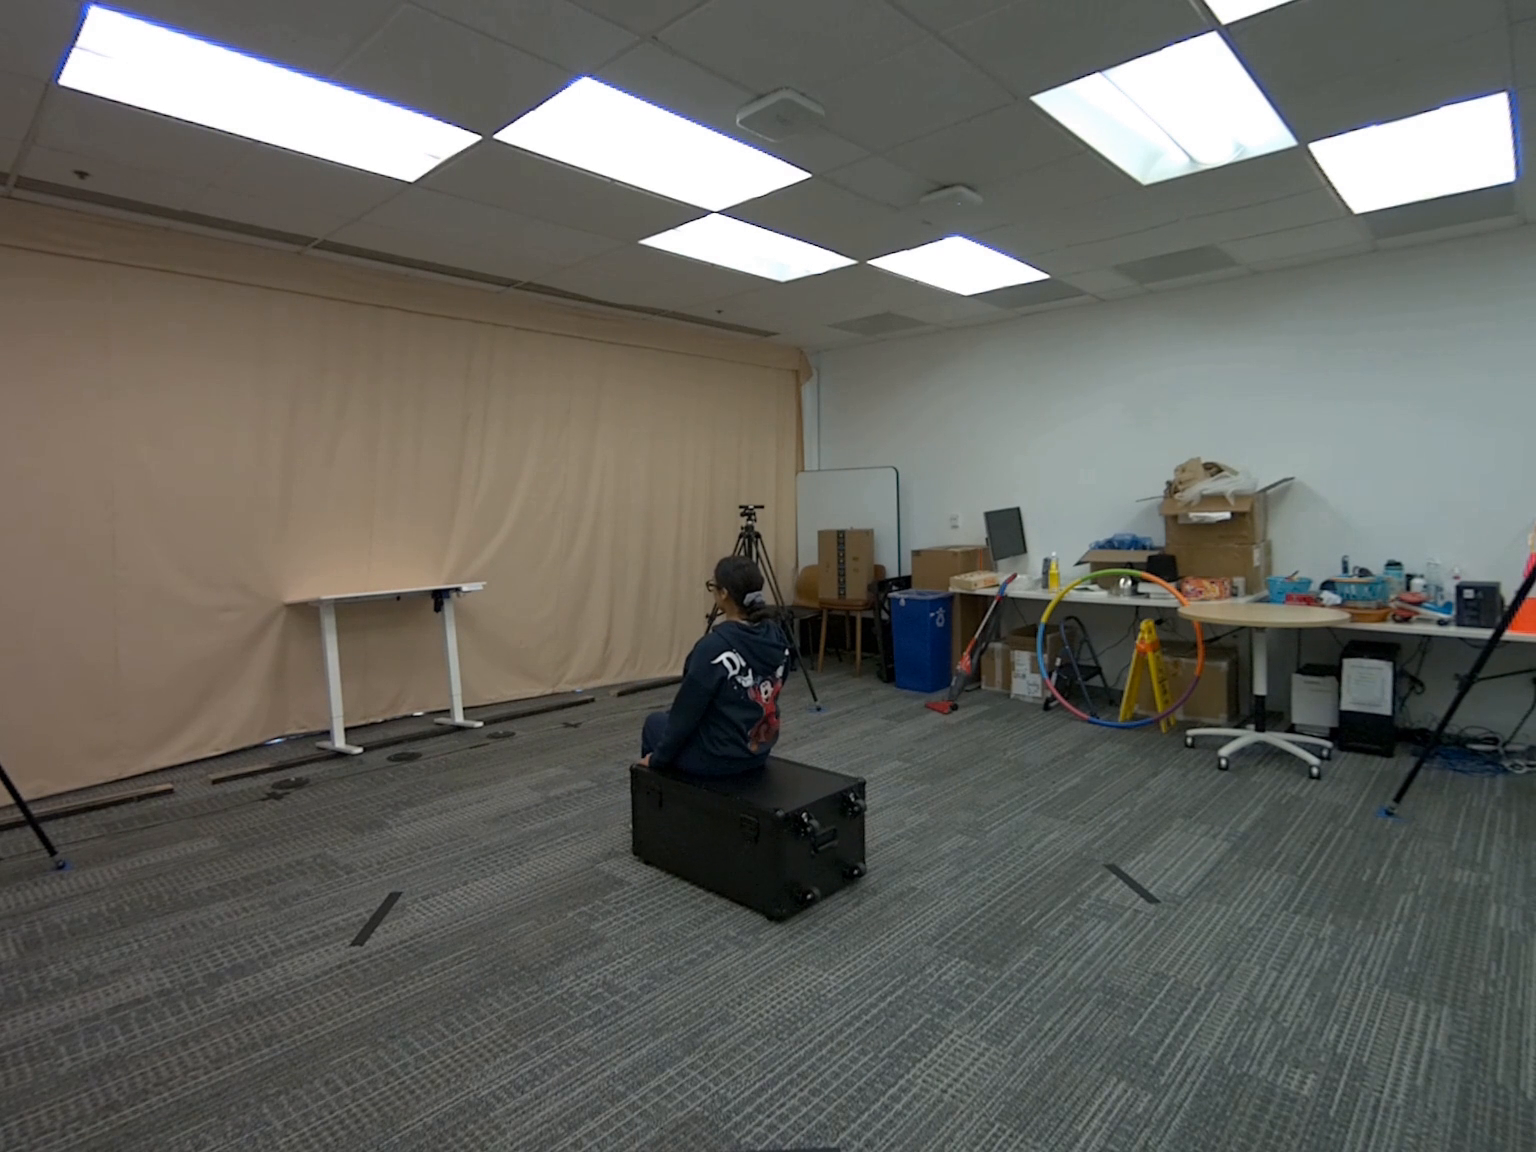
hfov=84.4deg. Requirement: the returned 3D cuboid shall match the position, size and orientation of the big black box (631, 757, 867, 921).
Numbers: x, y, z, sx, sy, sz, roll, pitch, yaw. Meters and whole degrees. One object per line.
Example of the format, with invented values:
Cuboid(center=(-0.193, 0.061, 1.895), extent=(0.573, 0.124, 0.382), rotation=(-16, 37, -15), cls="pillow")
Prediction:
Cuboid(center=(-0.062, 0.939, 3.183), extent=(0.890, 0.395, 0.505), rotation=(2, 5, 43), cls="big black box")
